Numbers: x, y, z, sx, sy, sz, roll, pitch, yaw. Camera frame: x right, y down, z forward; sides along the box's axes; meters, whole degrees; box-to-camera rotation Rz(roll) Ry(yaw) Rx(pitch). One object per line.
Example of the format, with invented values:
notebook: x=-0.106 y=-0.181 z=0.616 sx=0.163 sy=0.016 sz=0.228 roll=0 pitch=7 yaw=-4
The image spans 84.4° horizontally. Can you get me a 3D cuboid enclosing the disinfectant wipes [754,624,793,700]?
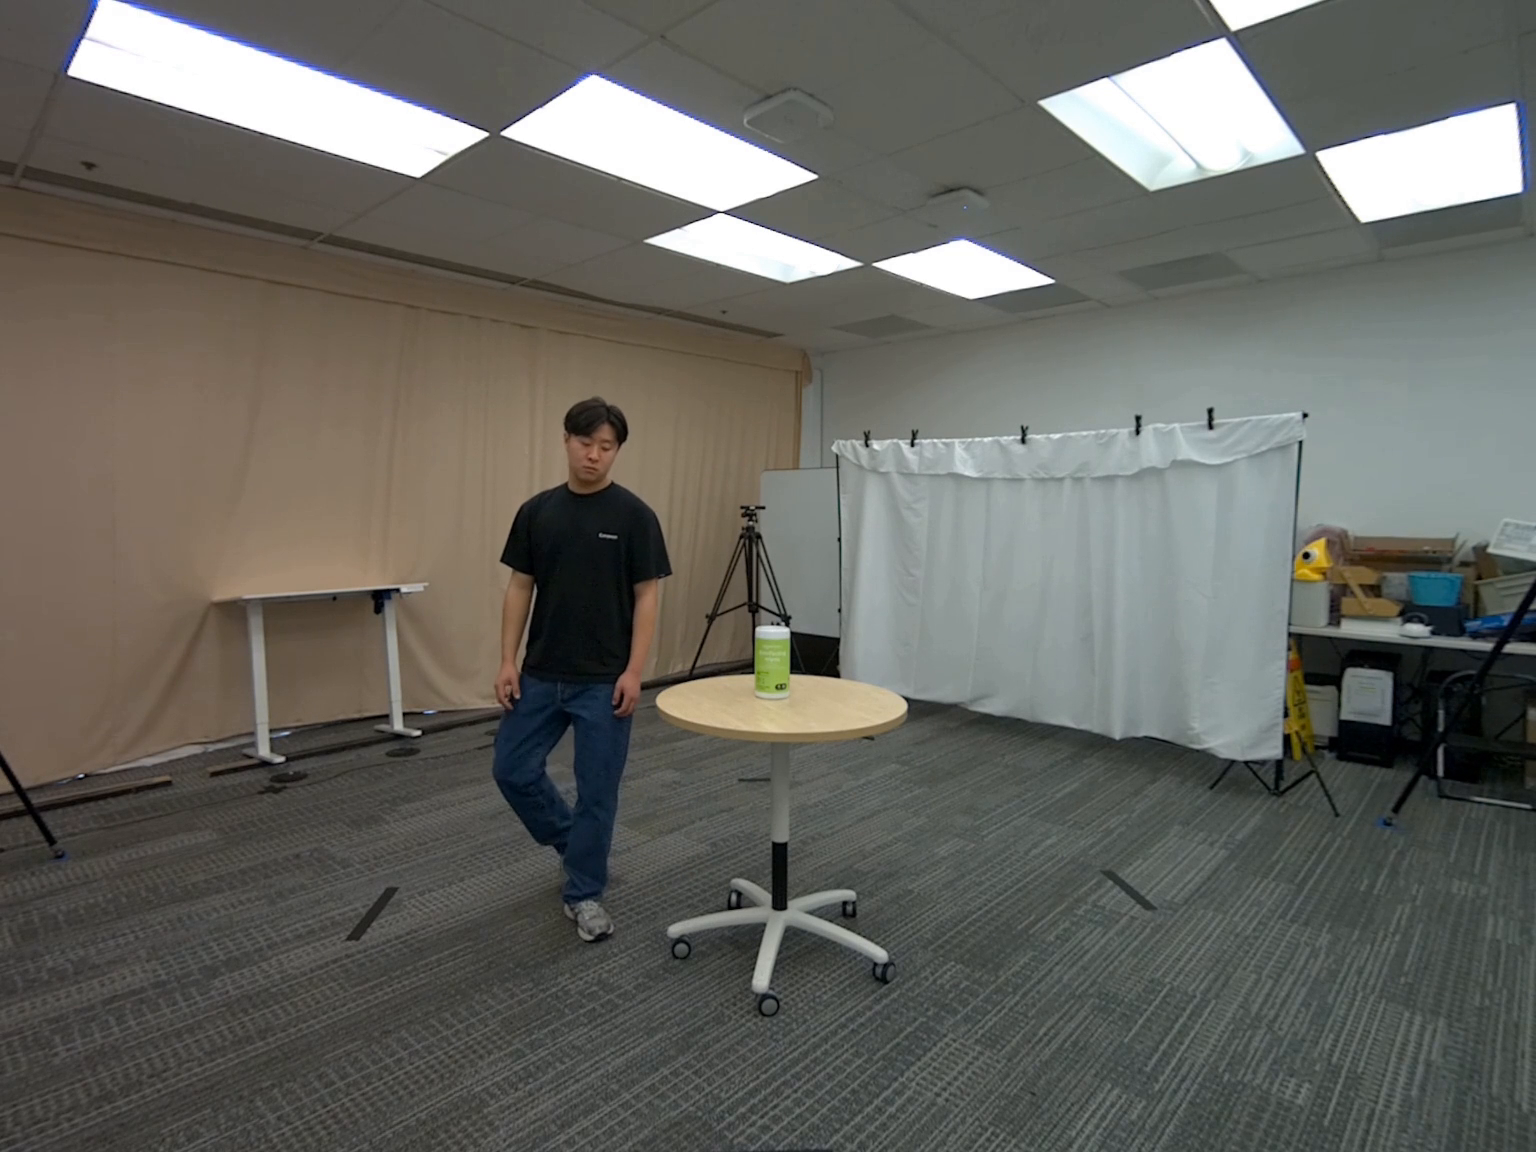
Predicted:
disinfectant wipes: x=0.021 y=0.270 z=2.624 sx=0.118 sy=0.217 sz=0.118 roll=0 pitch=2 yaw=-2
